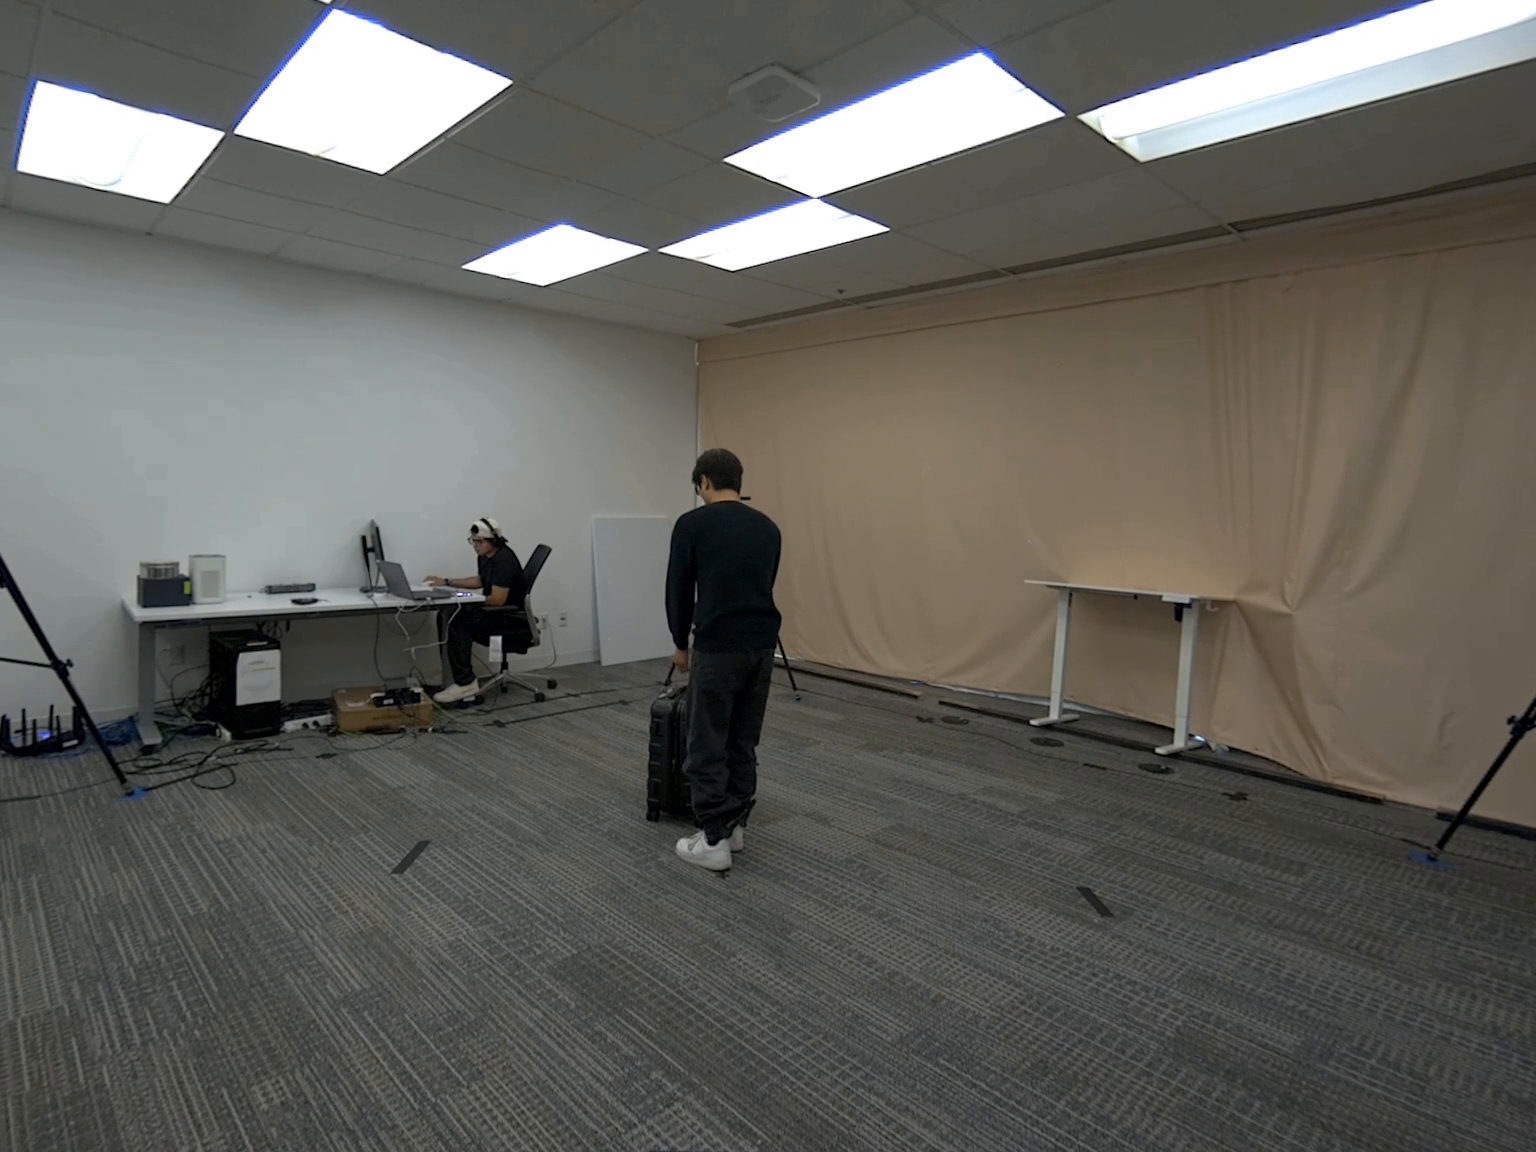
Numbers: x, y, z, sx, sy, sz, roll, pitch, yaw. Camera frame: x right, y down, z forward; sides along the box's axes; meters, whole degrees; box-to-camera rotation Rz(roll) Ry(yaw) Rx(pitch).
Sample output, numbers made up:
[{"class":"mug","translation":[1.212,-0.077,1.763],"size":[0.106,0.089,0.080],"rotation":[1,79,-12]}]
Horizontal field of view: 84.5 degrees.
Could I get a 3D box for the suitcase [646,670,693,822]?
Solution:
[{"class":"suitcase","translation":[-0.382,0.771,3.715],"size":[0.251,0.548,0.372],"rotation":[3,4,12]}]
